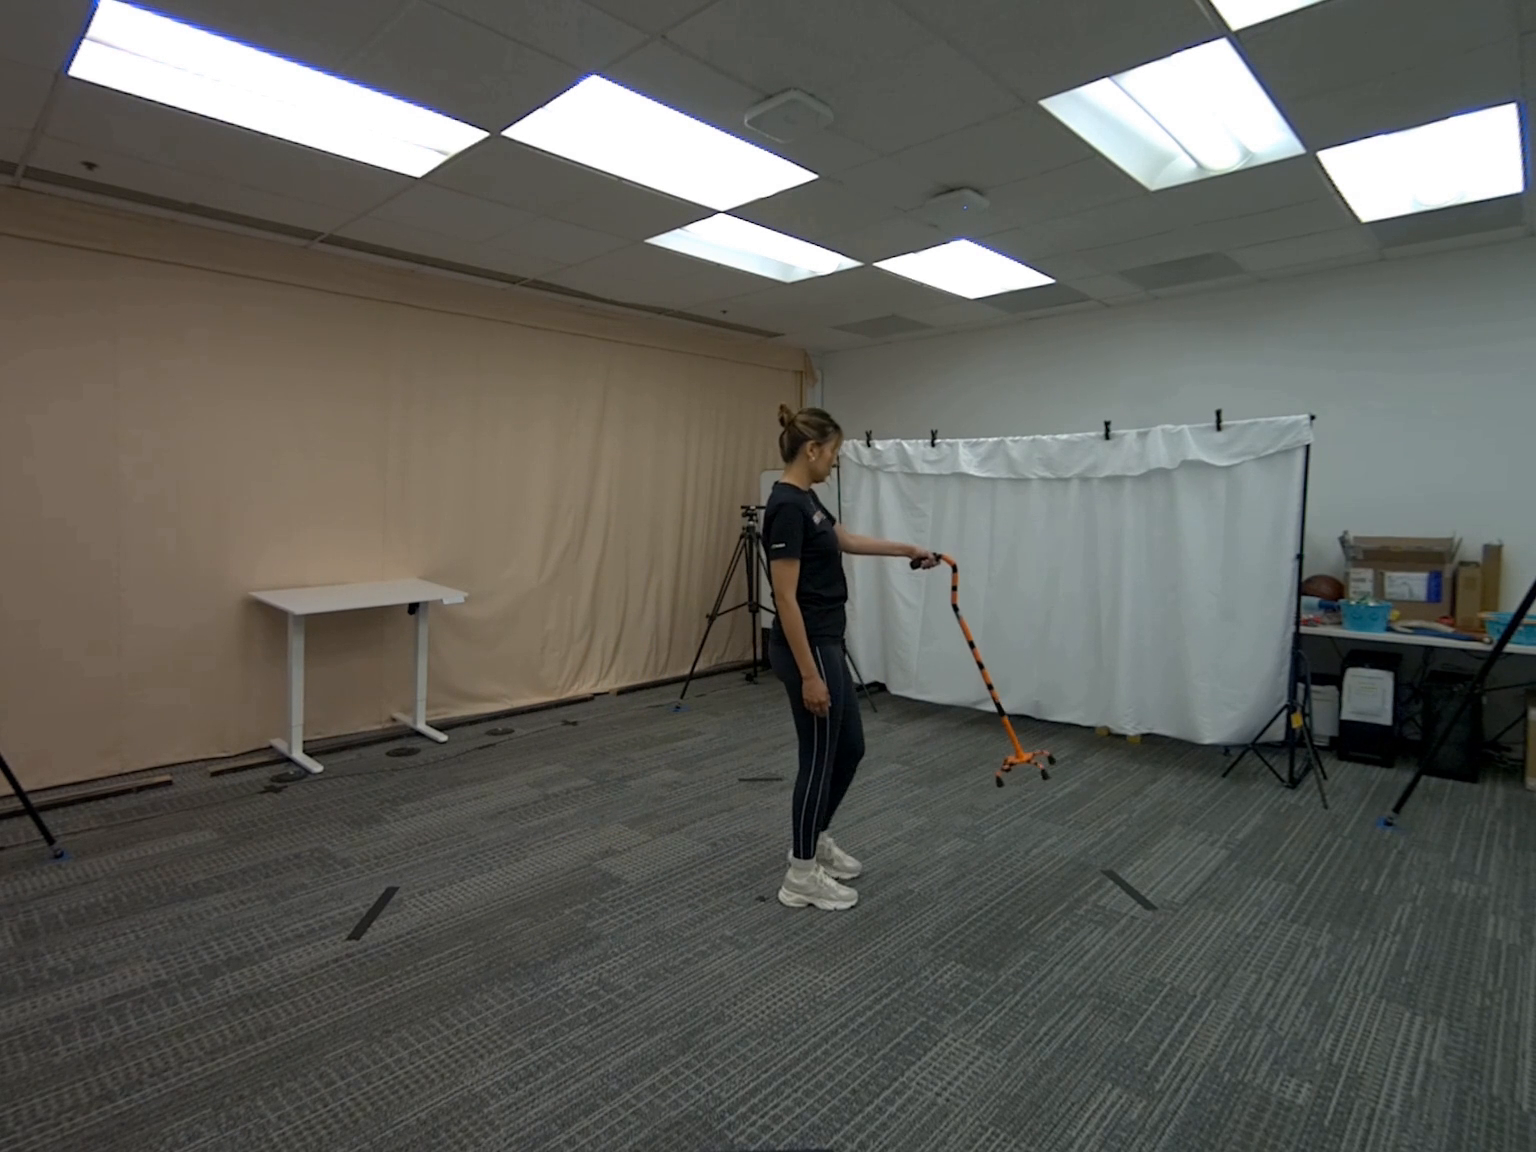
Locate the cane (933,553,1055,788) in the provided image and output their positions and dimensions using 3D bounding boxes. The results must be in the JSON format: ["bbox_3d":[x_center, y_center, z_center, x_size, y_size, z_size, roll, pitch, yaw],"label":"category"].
[{"bbox_3d":[0.798,0.361,3.166,0.211,0.905,0.149,-21,3,30],"label":"cane"}]
